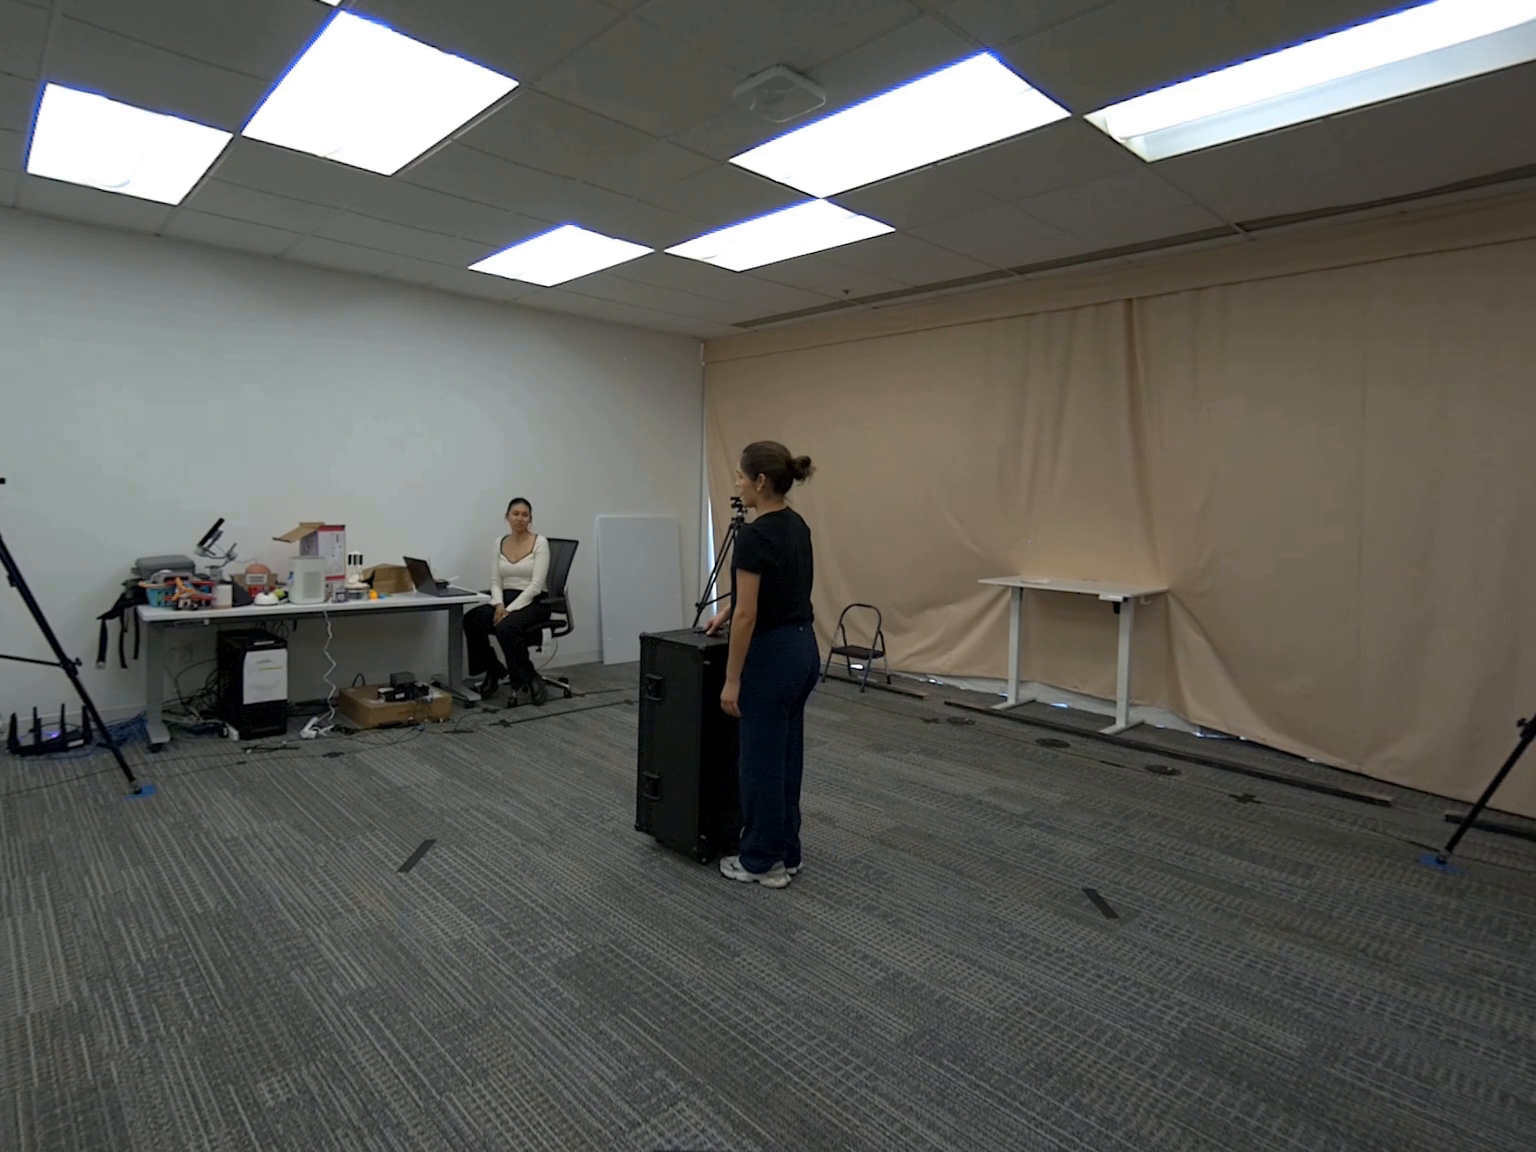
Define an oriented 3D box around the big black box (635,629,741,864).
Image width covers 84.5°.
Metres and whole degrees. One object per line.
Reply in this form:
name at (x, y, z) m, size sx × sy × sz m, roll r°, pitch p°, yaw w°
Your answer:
big black box at (-0.237, 0.656, 3.362) m, size 0.406 × 0.859 × 0.509 m, roll 5°, pitch 5°, yaw 41°
